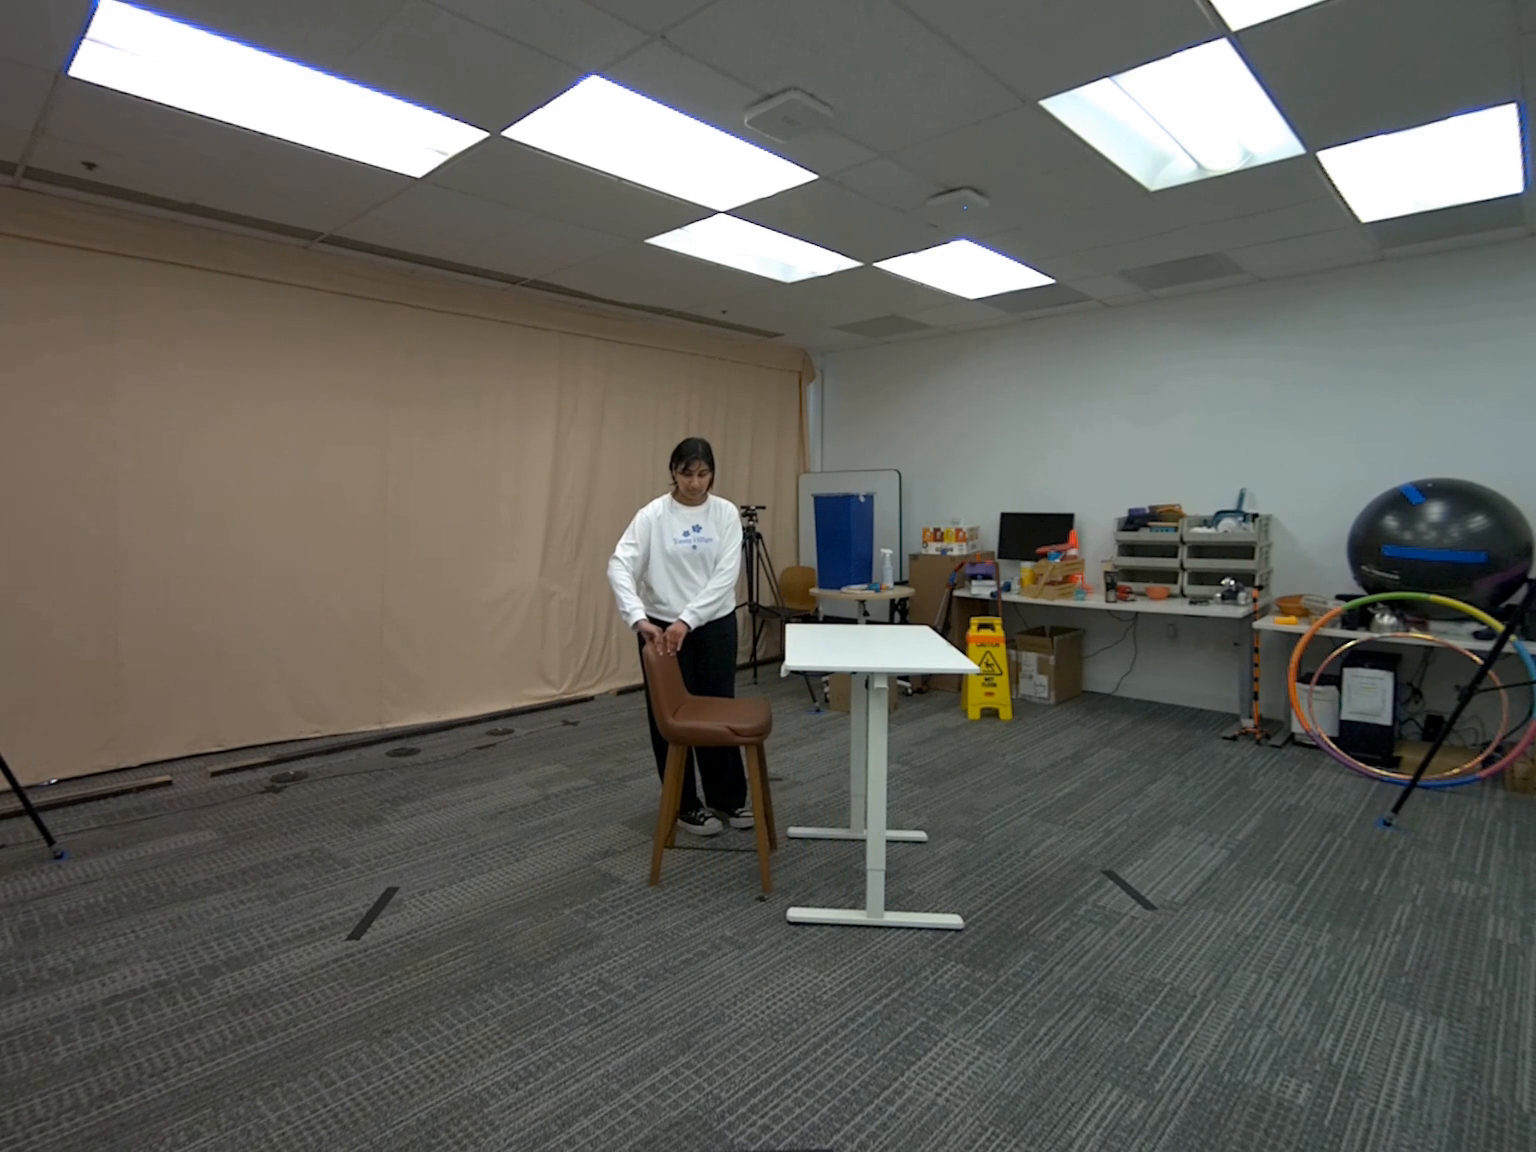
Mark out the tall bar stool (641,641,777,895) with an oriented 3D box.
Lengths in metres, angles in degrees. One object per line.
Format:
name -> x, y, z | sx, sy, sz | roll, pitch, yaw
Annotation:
tall bar stool -> -0.212, 0.688, 3.223 | 0.471, 0.888, 0.454 | -3, 2, 7
